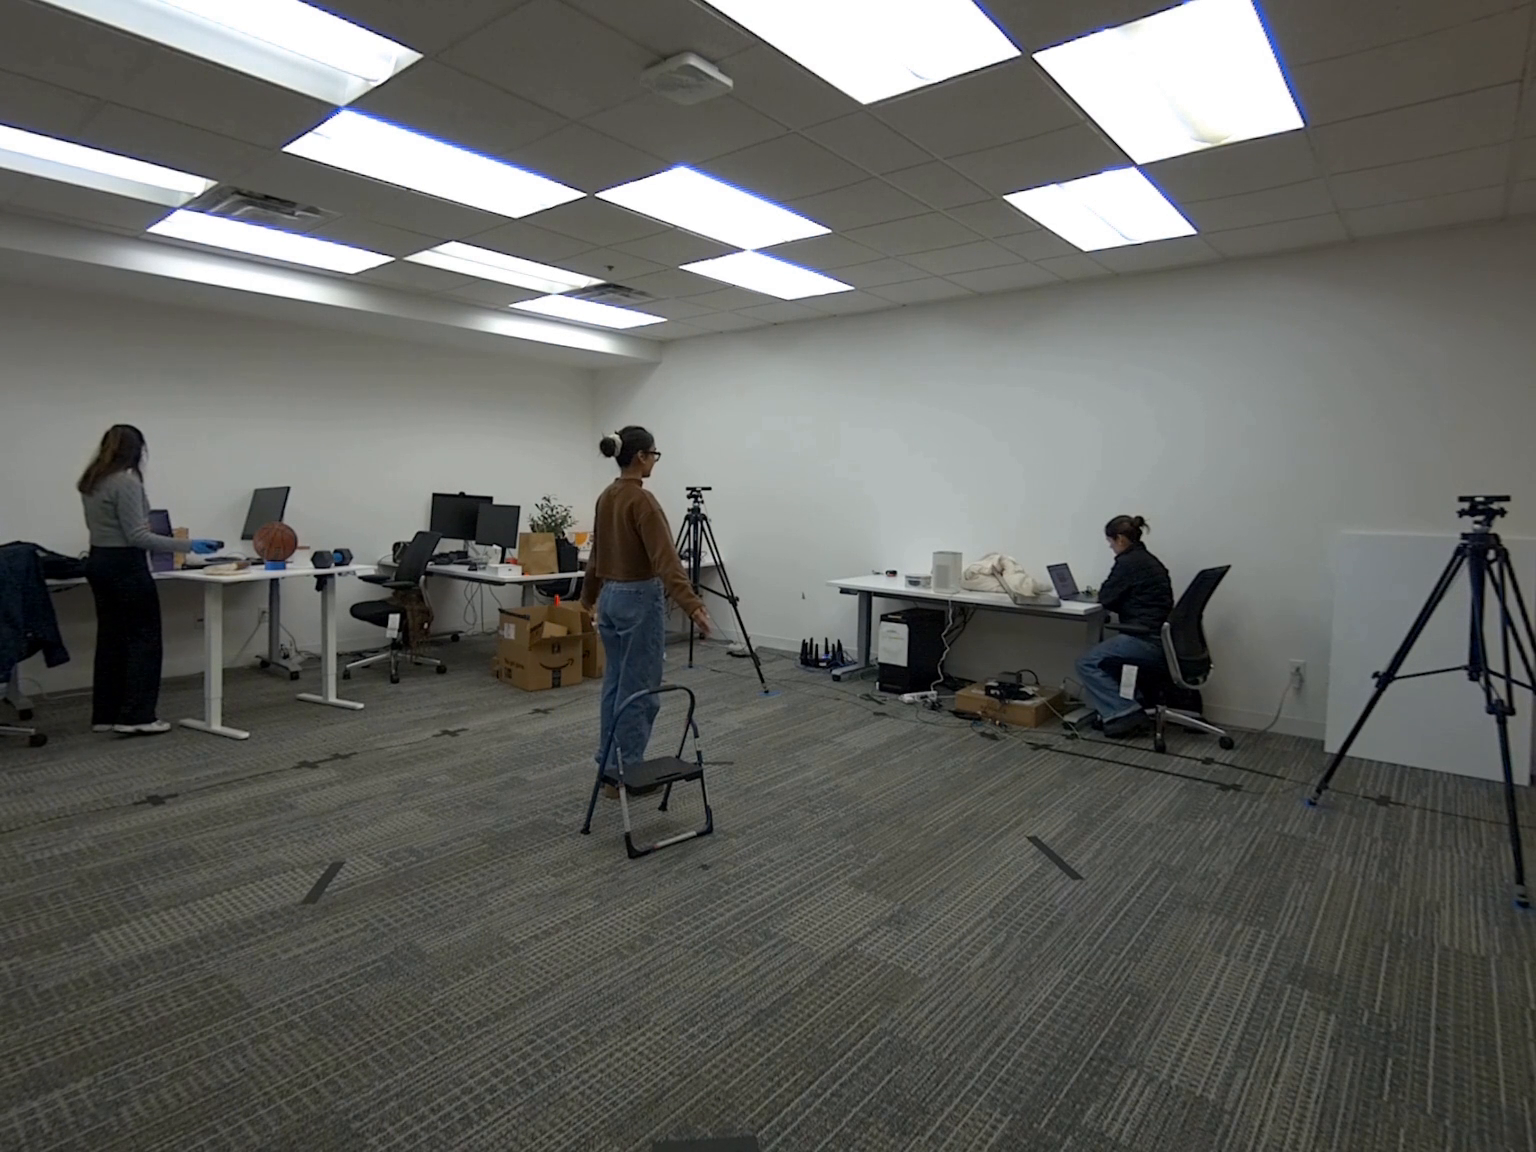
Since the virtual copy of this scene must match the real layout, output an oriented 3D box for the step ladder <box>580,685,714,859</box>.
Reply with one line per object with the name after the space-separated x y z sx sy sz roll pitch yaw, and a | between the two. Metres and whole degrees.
-0.490 0.729 3.416 0.417 0.604 0.361 -3 5 -45 | step ladder
